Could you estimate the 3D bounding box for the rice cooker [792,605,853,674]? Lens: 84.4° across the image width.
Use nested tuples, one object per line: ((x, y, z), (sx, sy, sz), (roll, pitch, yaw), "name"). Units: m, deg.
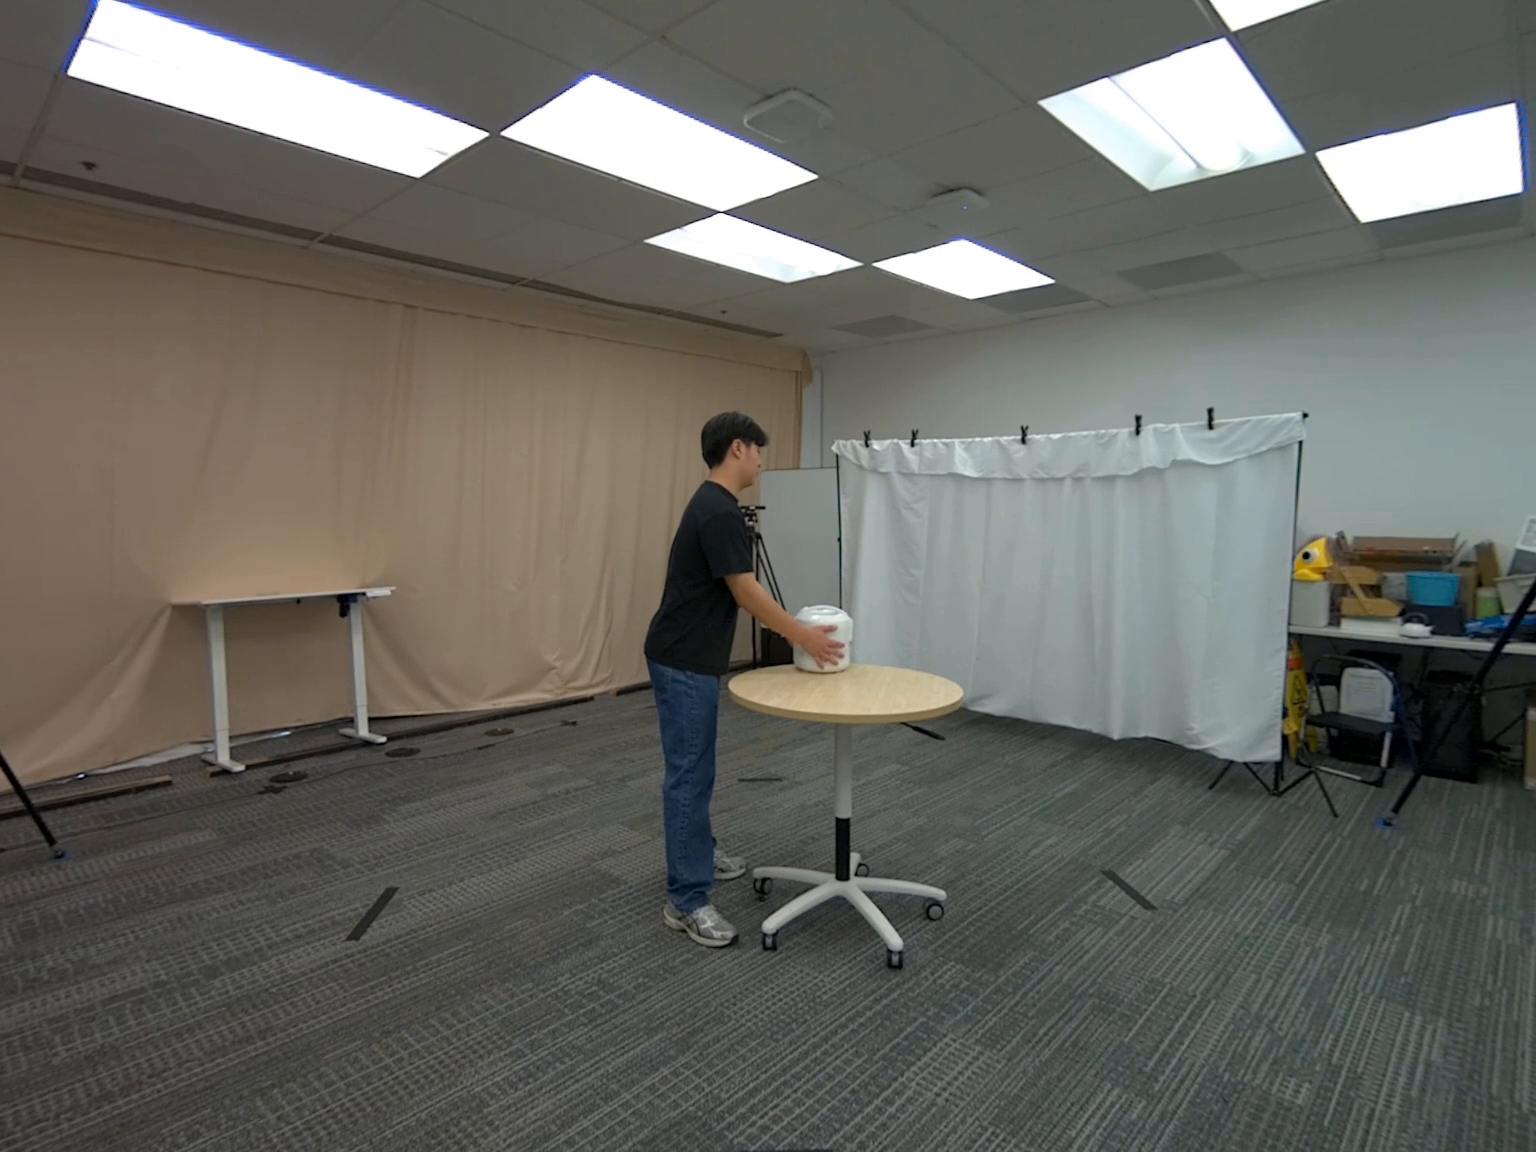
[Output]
((0.206, 0.223, 3.056), (0.221, 0.232, 0.217), (0, 5, 2), "rice cooker")
